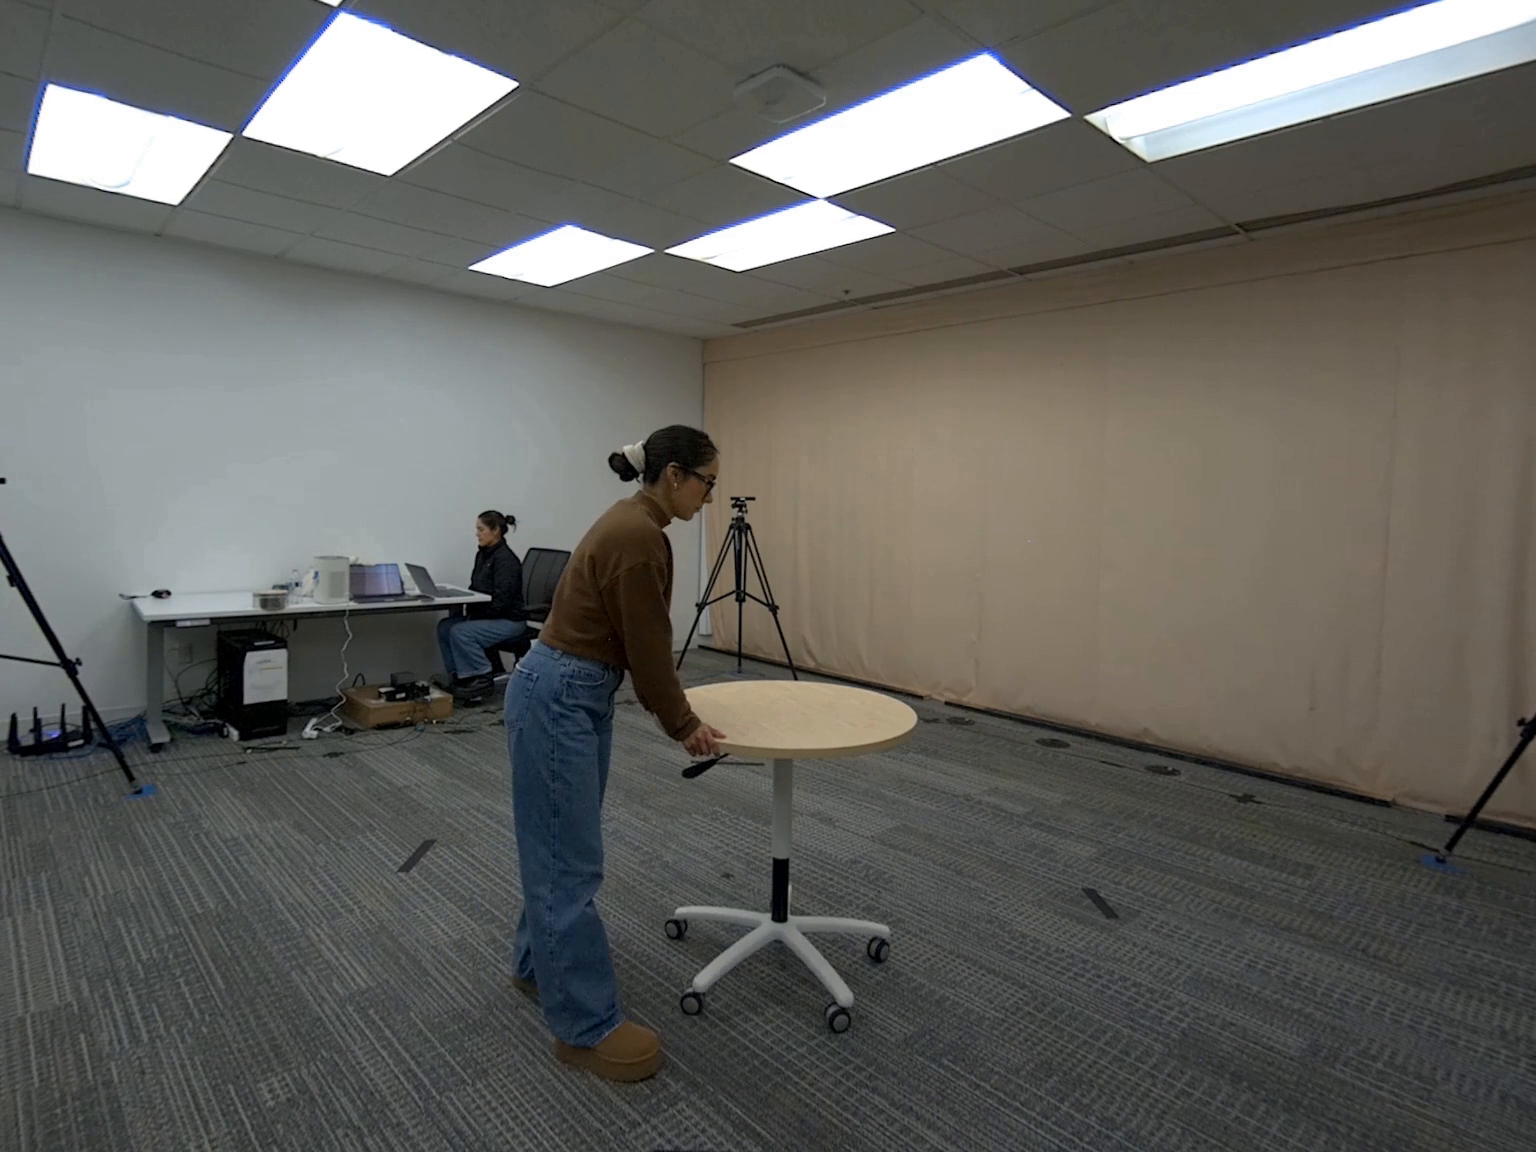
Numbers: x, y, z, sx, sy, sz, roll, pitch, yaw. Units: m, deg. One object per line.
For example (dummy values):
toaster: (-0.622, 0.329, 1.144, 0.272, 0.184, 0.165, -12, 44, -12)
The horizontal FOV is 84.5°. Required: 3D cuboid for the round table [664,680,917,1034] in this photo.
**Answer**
round table: (0.026, 0.784, 2.494, 0.763, 0.792, 0.767, 1, 4, -1)
